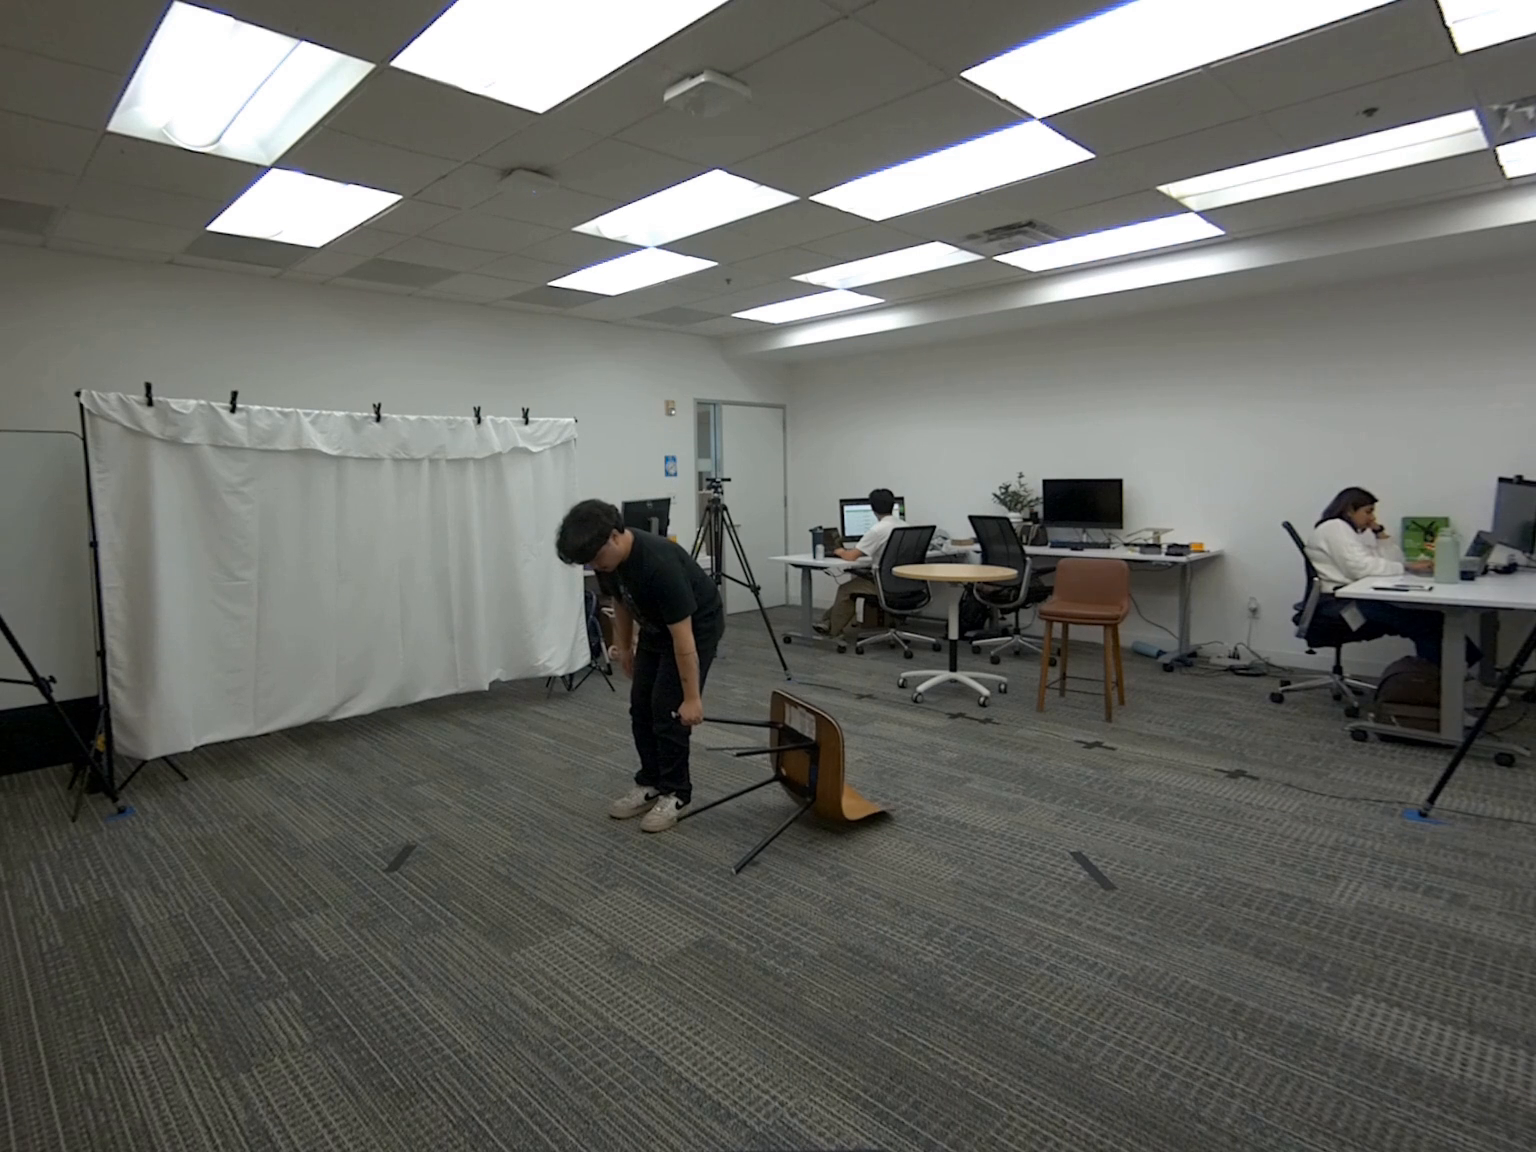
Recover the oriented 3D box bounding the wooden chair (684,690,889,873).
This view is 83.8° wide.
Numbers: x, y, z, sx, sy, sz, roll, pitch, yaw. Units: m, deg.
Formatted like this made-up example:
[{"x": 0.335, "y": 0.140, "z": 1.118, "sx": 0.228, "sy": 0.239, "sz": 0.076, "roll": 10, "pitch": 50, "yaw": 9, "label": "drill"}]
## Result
[{"x": 0.108, "y": 0.739, "z": 3.383, "sx": 0.855, "sy": 0.520, "sz": 0.493, "roll": -2, "pitch": 10, "yaw": -32, "label": "wooden chair"}]
